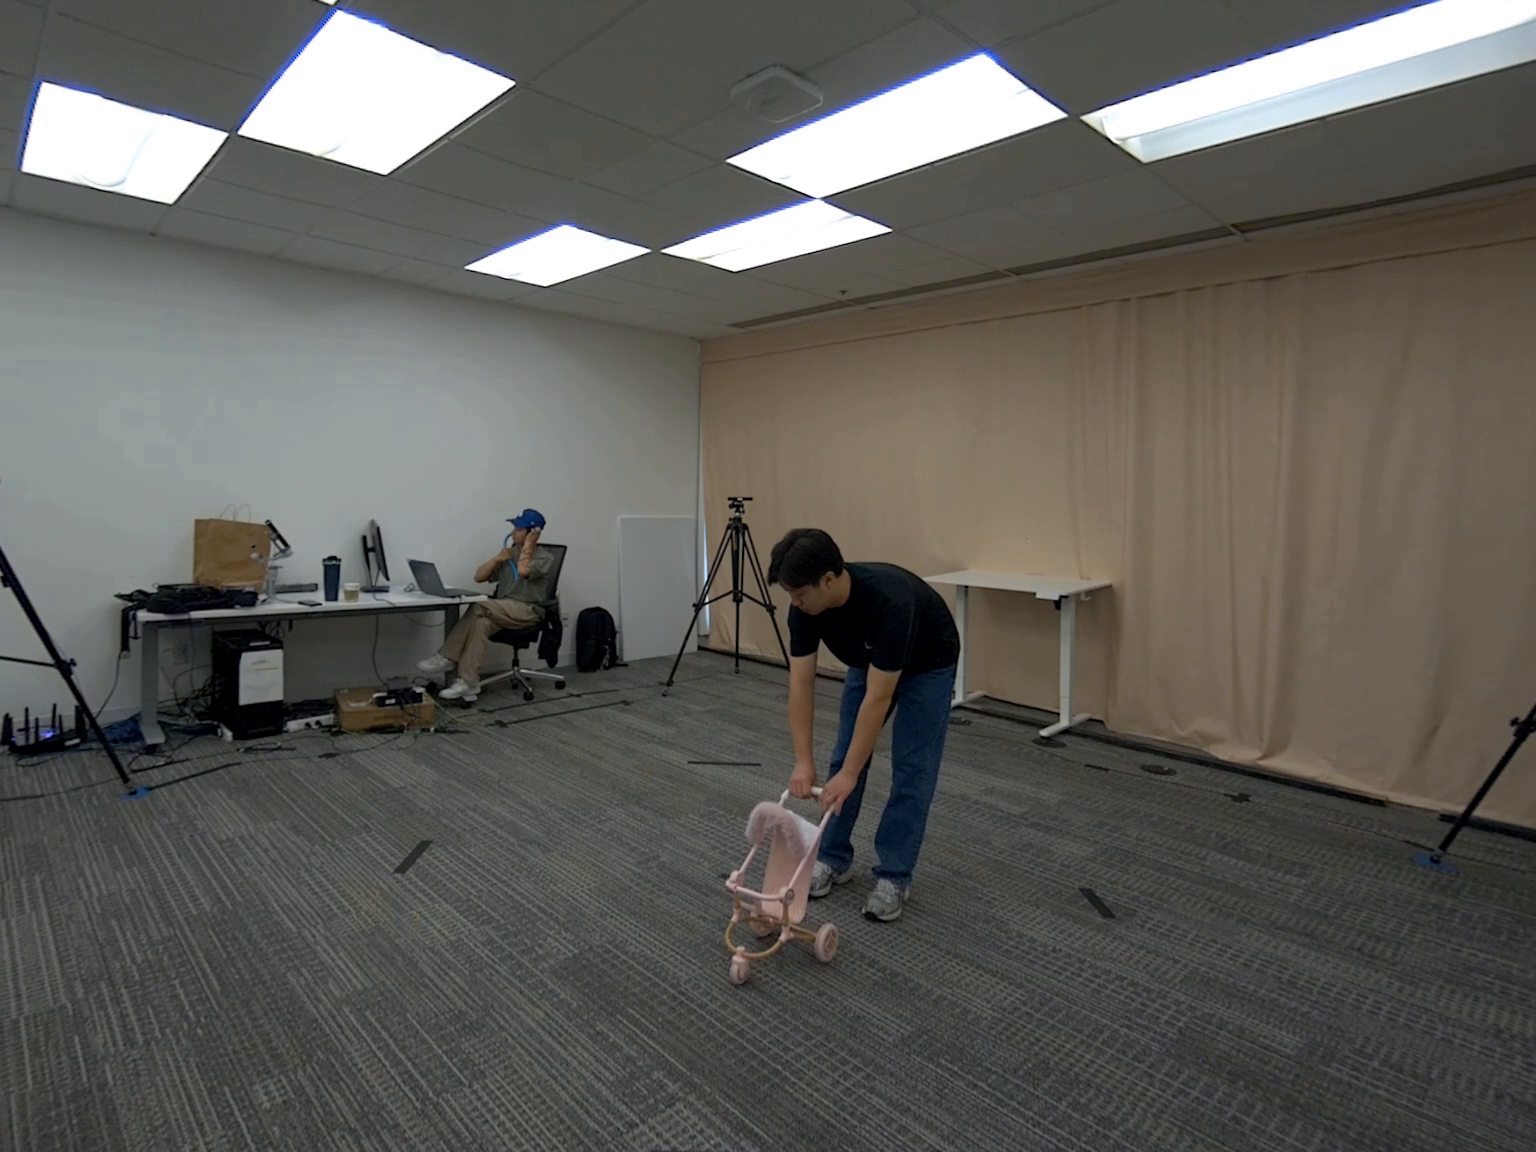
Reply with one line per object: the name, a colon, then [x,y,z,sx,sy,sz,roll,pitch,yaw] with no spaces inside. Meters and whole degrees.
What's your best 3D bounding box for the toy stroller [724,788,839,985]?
toy stroller: [0.021,0.927,2.543,0.332,0.537,0.288,13,-9,-44]
